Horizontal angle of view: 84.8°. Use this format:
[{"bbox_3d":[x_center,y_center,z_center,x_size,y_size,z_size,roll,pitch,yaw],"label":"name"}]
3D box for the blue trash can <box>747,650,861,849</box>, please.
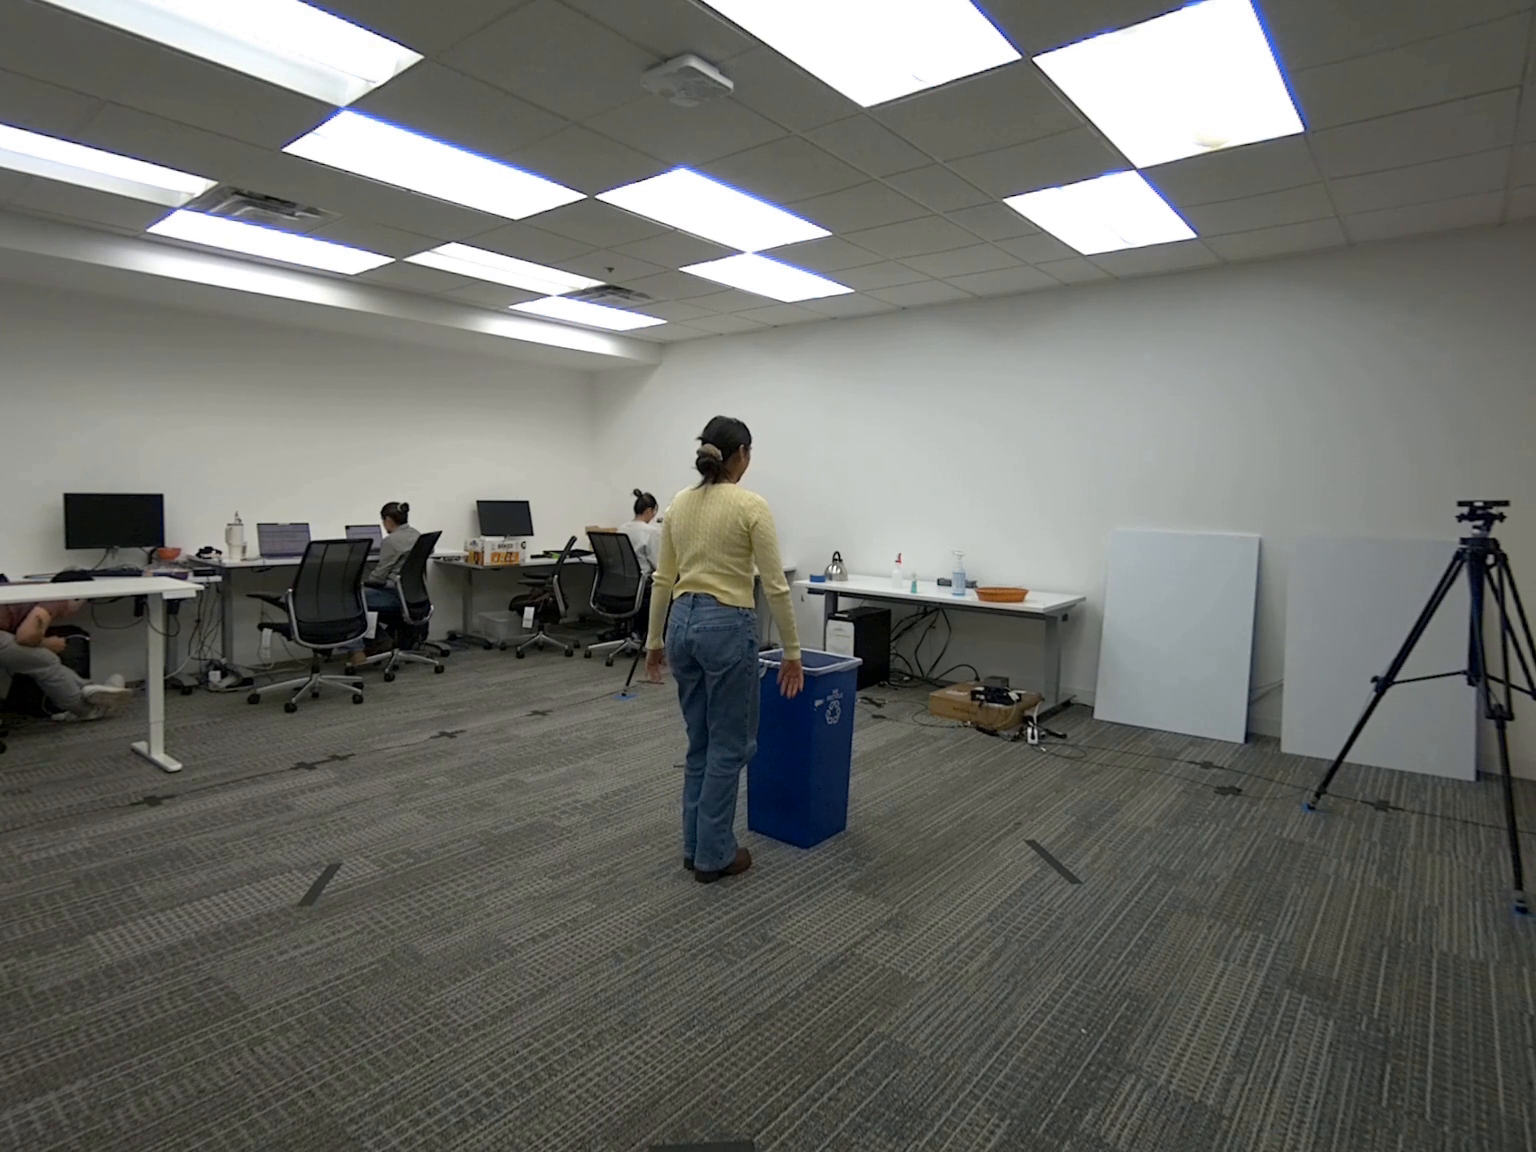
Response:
[{"bbox_3d":[0.125,0.685,3.509,0.391,0.711,0.363,4,4,38],"label":"blue trash can"}]
